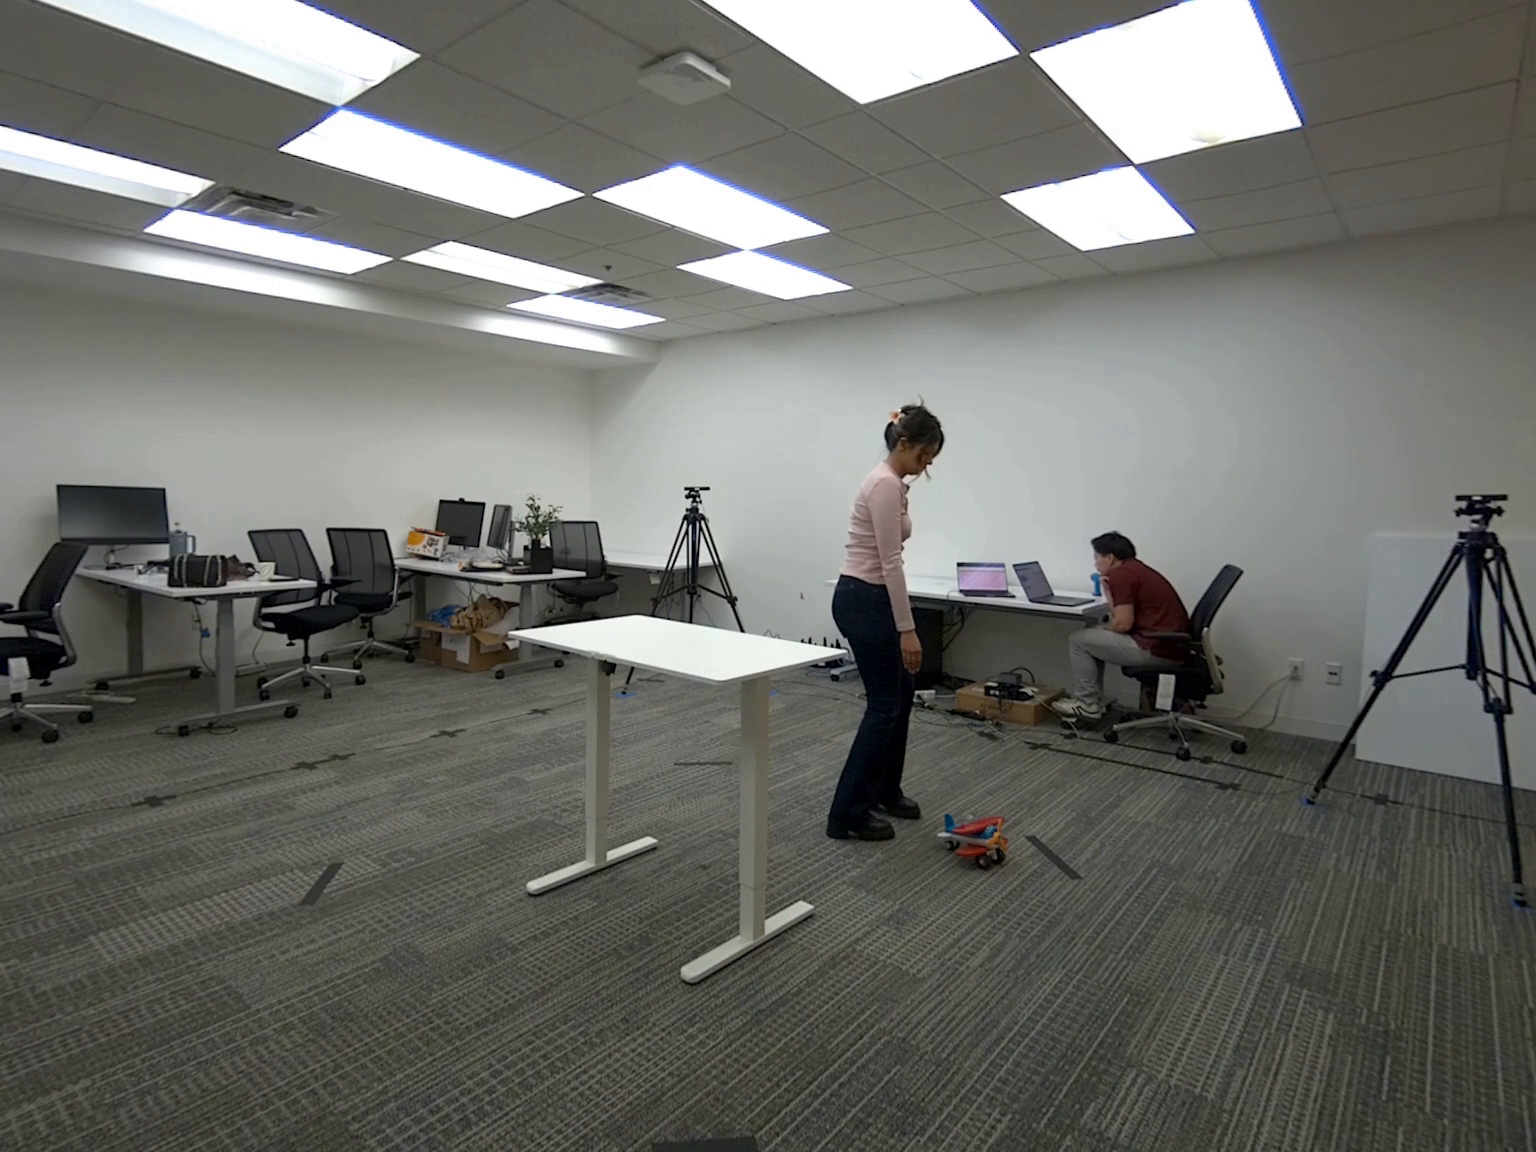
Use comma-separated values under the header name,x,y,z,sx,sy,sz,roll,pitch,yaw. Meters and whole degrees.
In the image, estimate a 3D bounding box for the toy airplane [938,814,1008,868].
name,x,y,z,sx,sy,sz,roll,pitch,yaw
toy airplane,0.761,0.994,3.240,0.266,0.156,0.246,5,6,24
